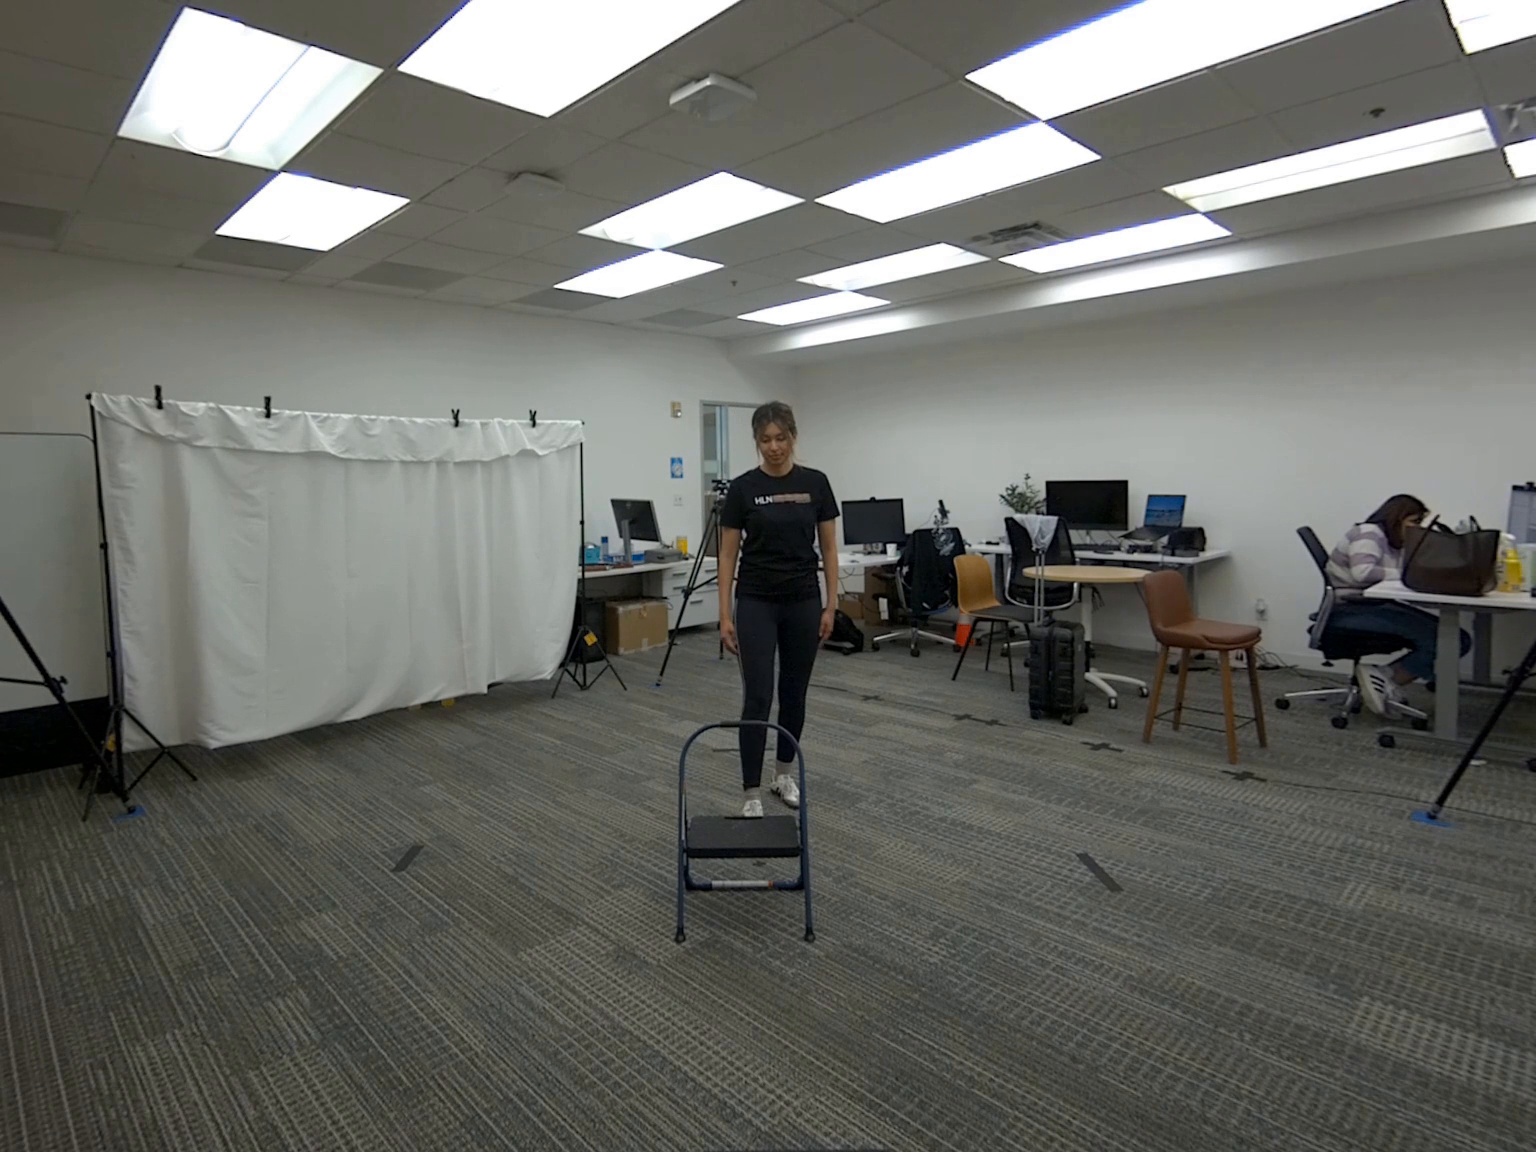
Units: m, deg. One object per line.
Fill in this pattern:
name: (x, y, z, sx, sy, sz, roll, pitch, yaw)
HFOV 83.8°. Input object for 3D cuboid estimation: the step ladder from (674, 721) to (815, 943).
step ladder: (-0.078, 0.791, 2.745, 0.431, 0.603, 0.351, 0, 5, 0)
